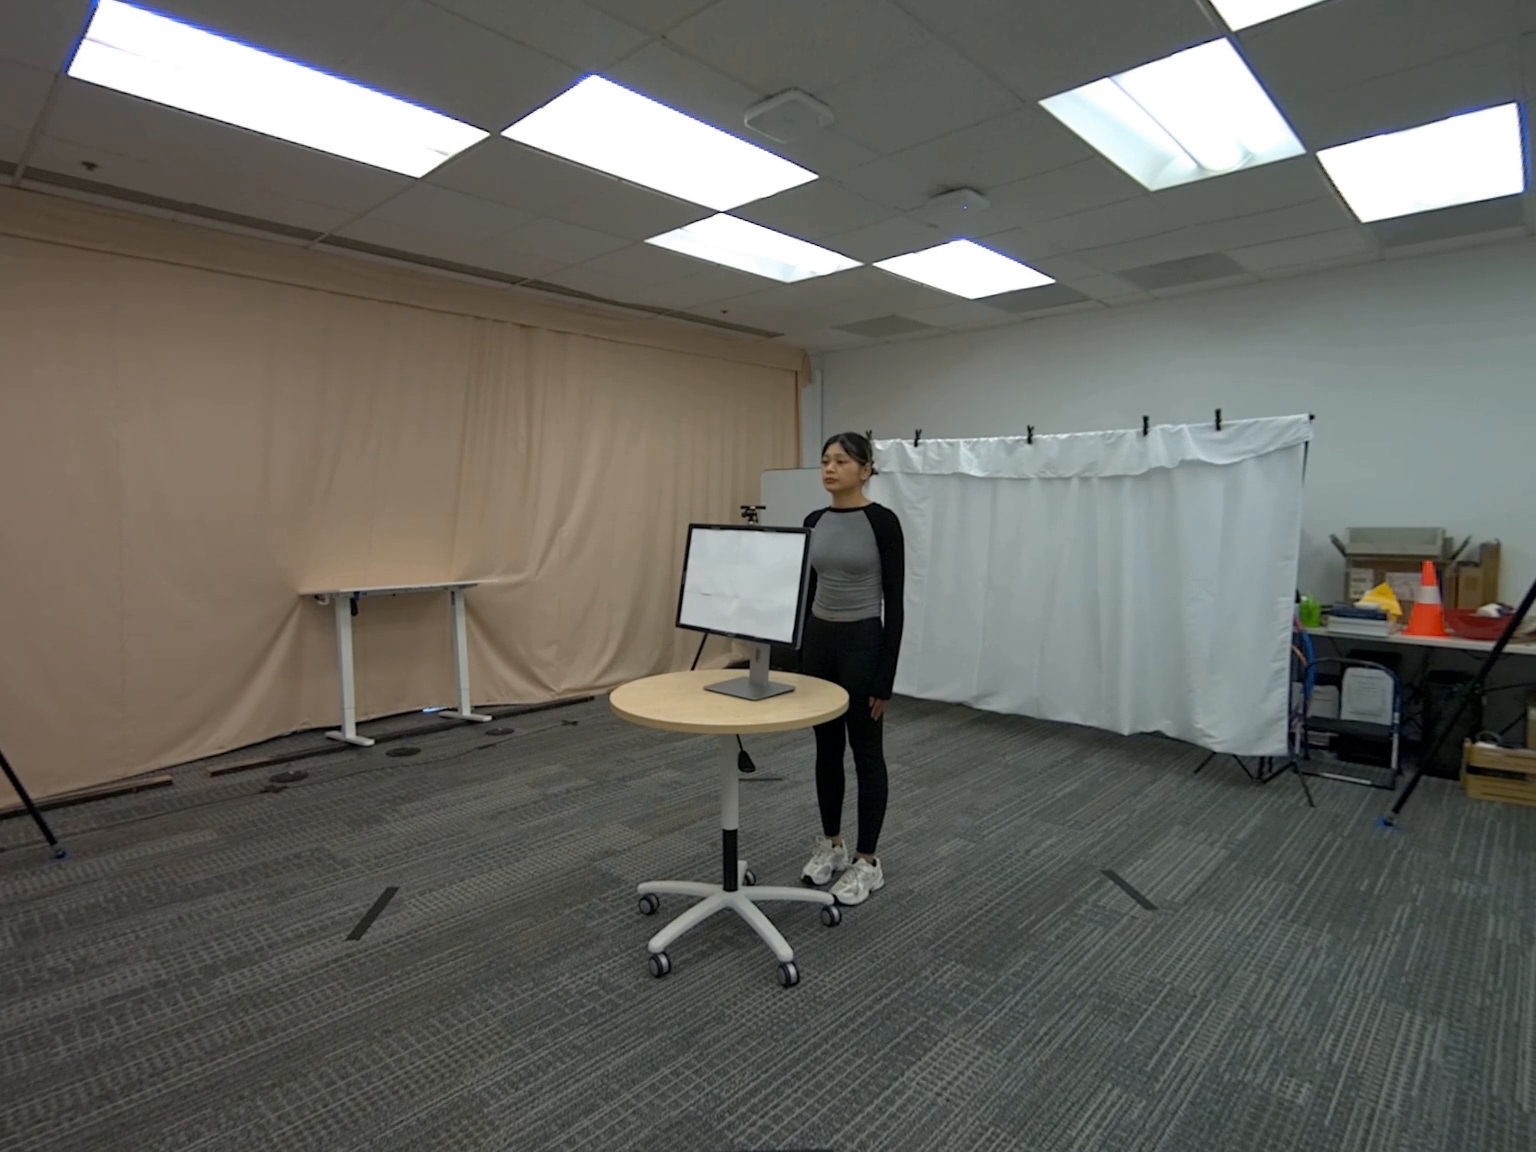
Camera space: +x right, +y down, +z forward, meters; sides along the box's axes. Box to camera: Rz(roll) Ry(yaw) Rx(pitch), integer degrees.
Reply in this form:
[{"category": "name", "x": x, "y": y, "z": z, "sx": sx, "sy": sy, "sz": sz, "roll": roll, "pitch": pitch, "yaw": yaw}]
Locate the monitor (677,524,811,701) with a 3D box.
[{"category": "monitor", "x": -0.058, "y": 0.111, "z": 2.742, "sx": 0.557, "sy": 0.521, "sz": 0.181, "roll": 4, "pitch": 7, "yaw": 44}]
